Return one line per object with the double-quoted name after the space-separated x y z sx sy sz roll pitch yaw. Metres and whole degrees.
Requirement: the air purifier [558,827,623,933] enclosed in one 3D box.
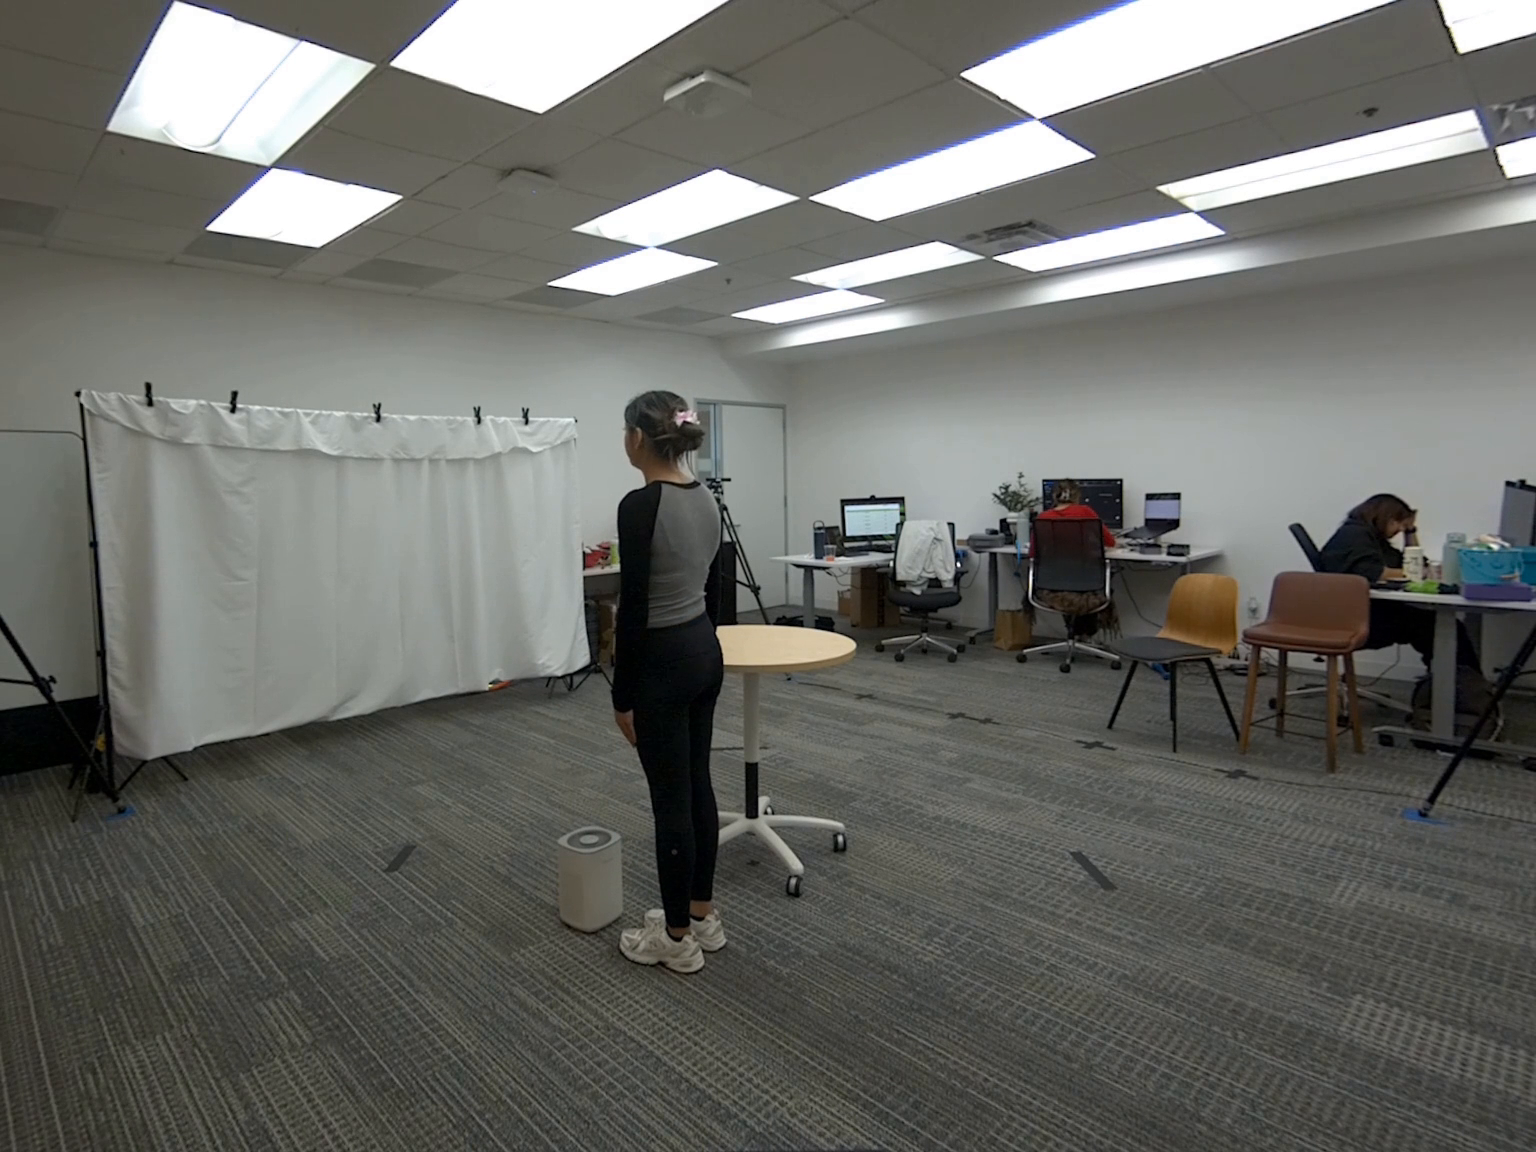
-0.559 0.963 2.715 0.176 0.264 0.167 2 6 36 "air purifier"
